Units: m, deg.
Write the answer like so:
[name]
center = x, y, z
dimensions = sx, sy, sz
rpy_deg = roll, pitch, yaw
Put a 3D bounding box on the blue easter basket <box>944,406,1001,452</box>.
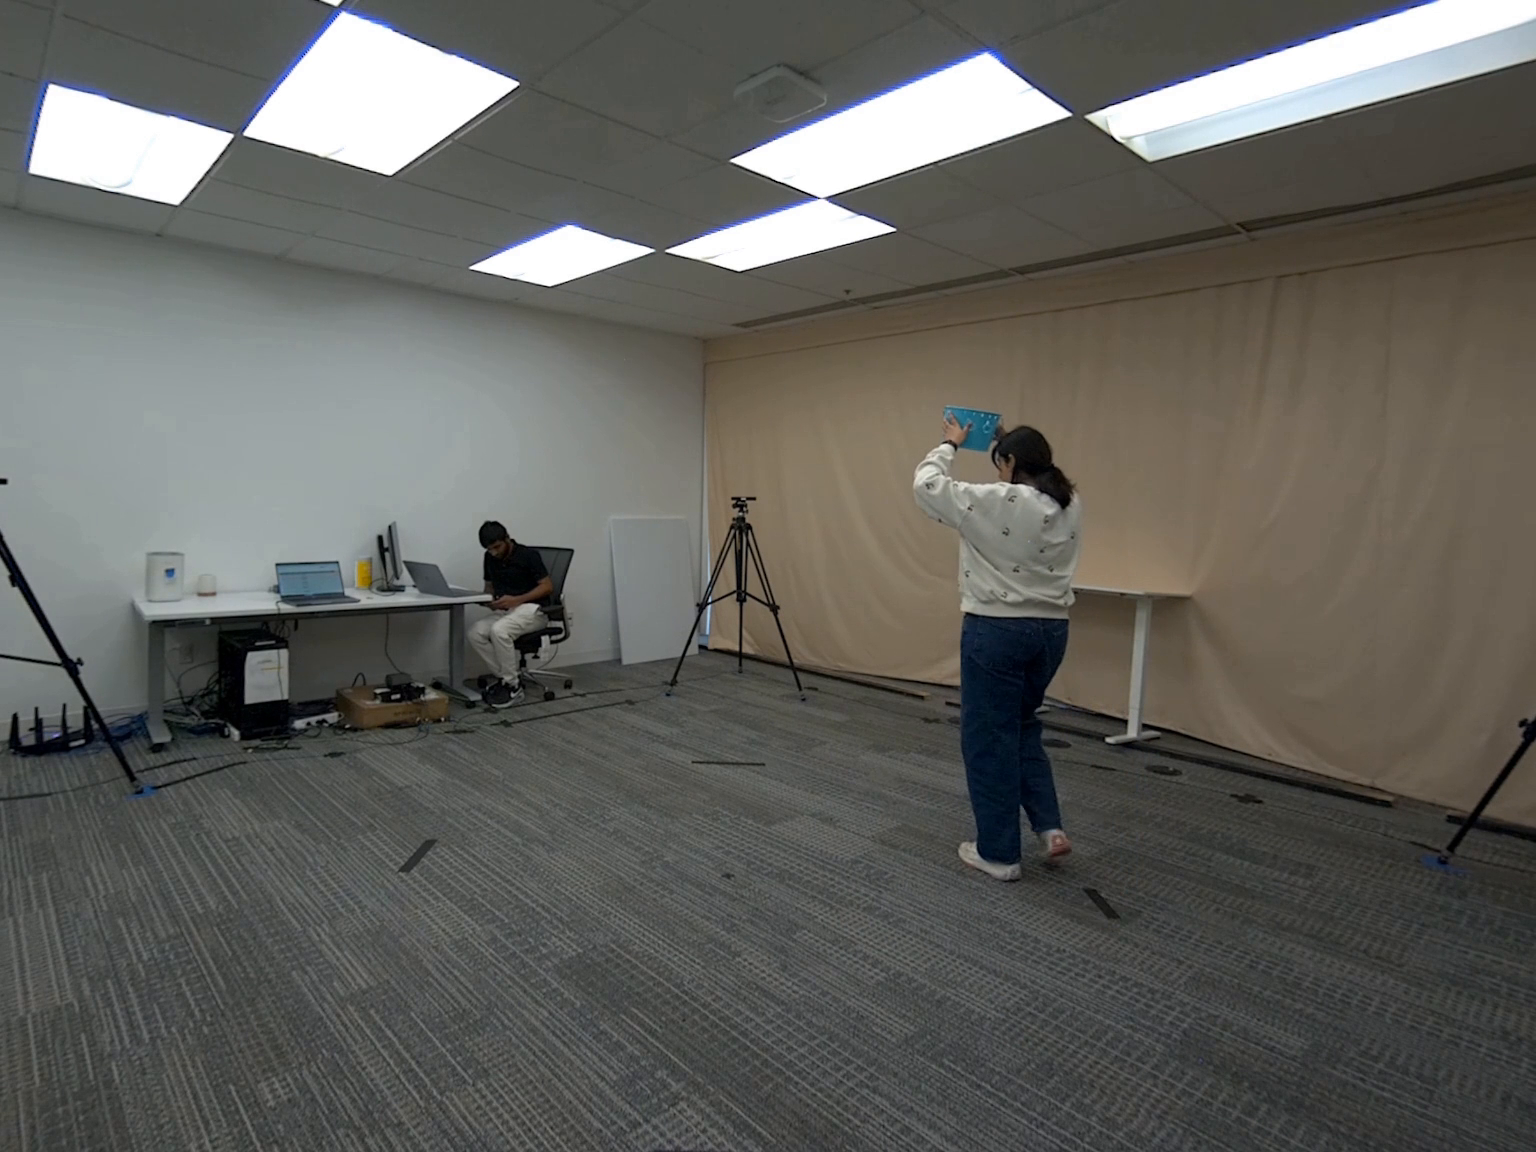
[blue easter basket]
center = 0.815, -0.588, 3.390
dimensions = 0.243, 0.155, 0.245
rpy_deg = 9, 9, -3
